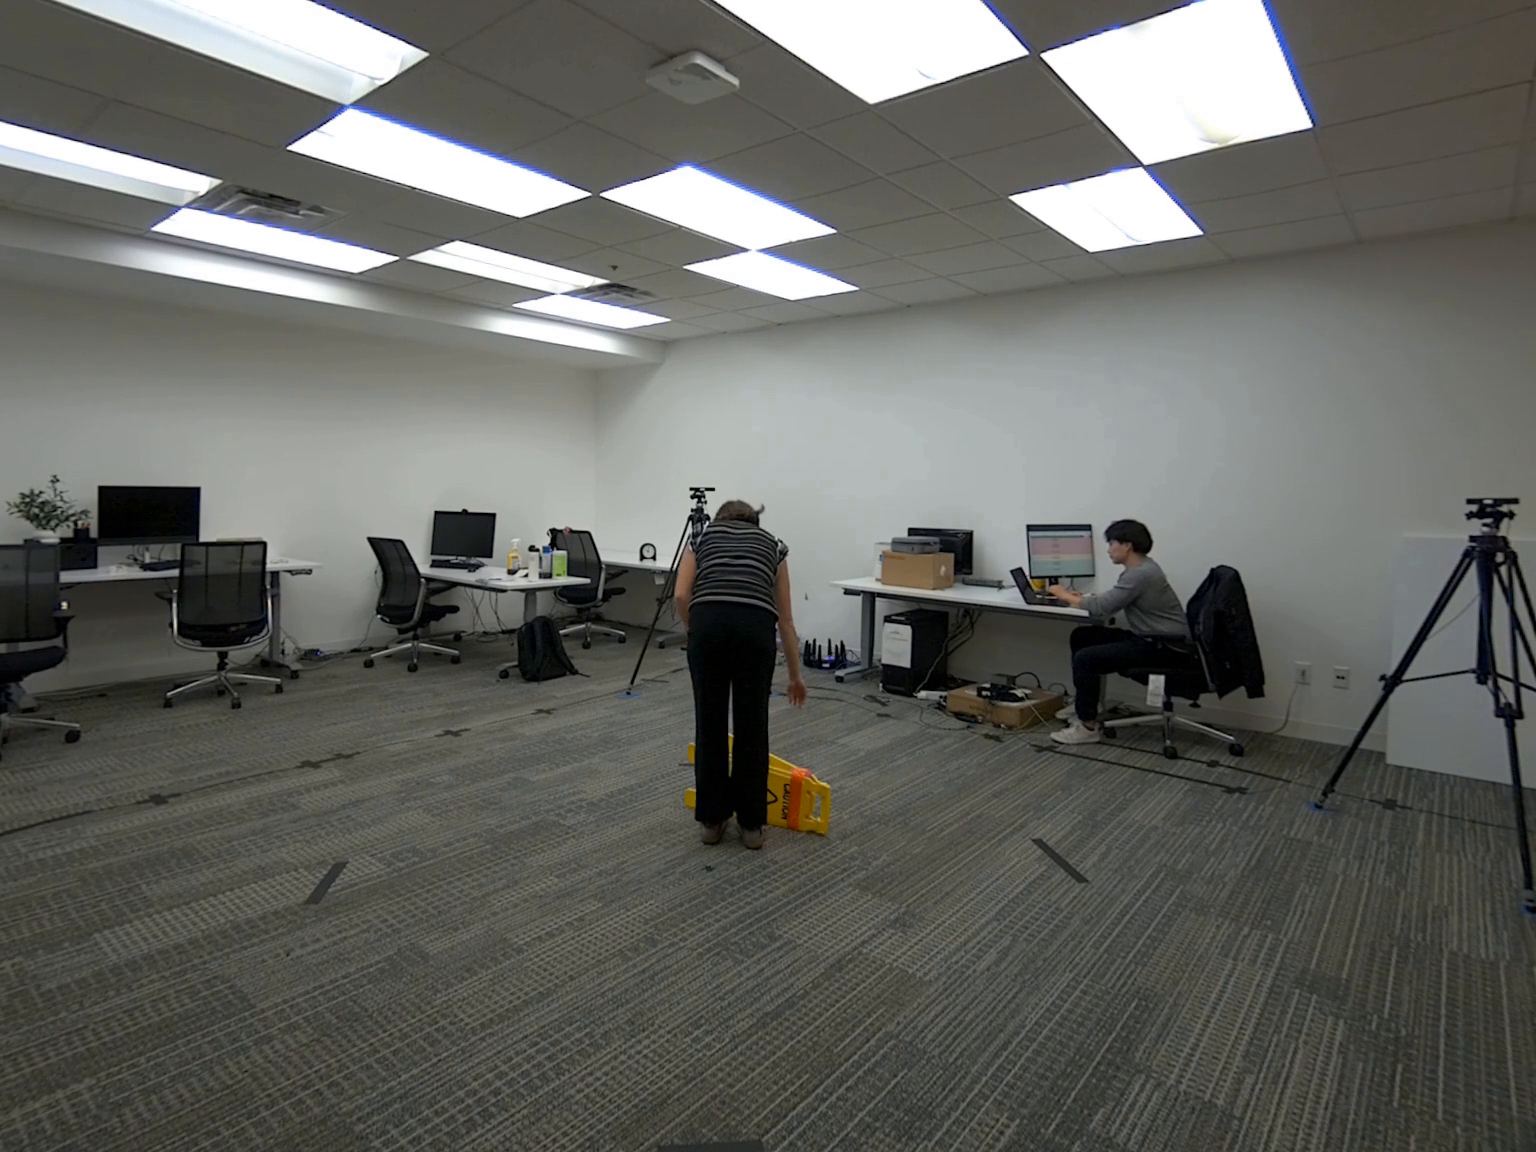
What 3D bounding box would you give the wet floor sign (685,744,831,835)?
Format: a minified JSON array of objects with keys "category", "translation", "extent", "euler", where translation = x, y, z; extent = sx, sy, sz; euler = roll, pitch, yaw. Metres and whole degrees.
[{"category":"wet floor sign","translation":[-0.031,0.894,3.617],"extent":[0.668,0.281,0.281],"euler":[9,7,34]}]
